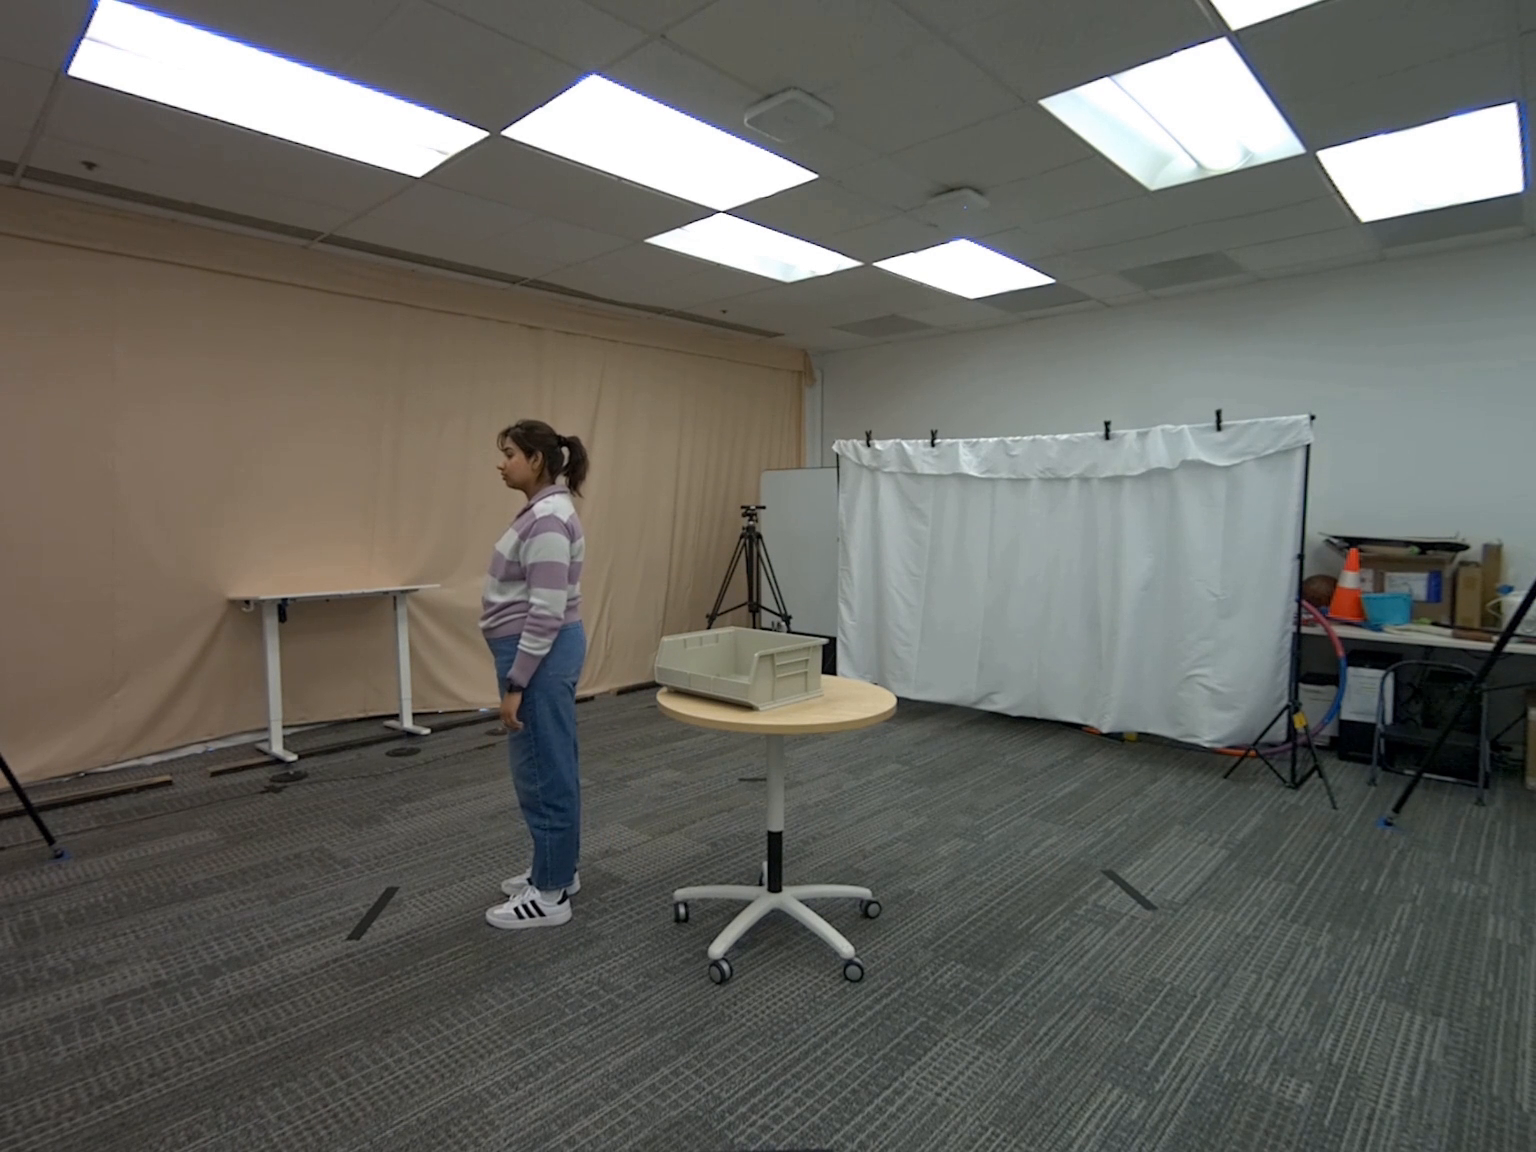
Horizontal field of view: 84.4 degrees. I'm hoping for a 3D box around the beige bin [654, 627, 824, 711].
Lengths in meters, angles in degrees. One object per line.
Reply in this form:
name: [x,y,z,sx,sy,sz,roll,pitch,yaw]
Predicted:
beige bin: [-0.083,0.296,2.711,0.436,0.189,0.365,3,4,42]
